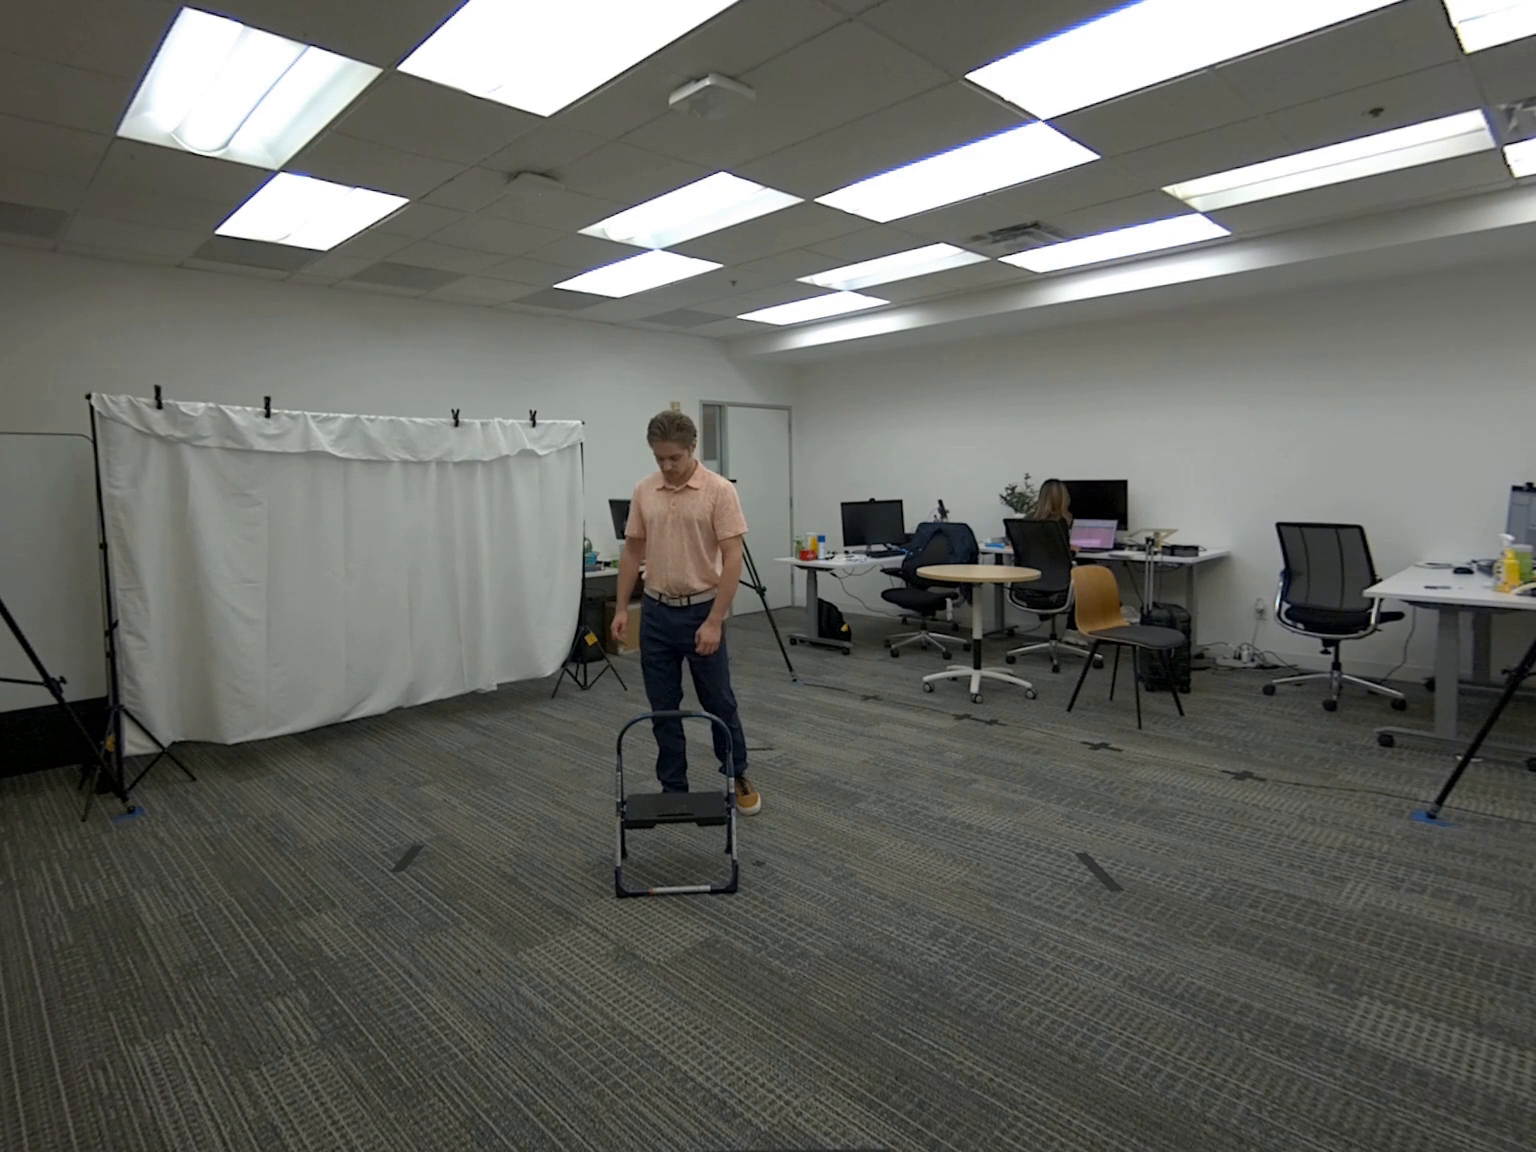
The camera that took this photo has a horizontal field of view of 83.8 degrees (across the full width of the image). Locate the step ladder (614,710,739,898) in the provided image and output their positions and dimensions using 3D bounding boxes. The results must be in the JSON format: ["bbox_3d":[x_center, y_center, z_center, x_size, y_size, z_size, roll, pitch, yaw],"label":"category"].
[{"bbox_3d":[-0.334,0.762,3.027,0.429,0.603,0.352,-2,5,-5],"label":"step ladder"}]
